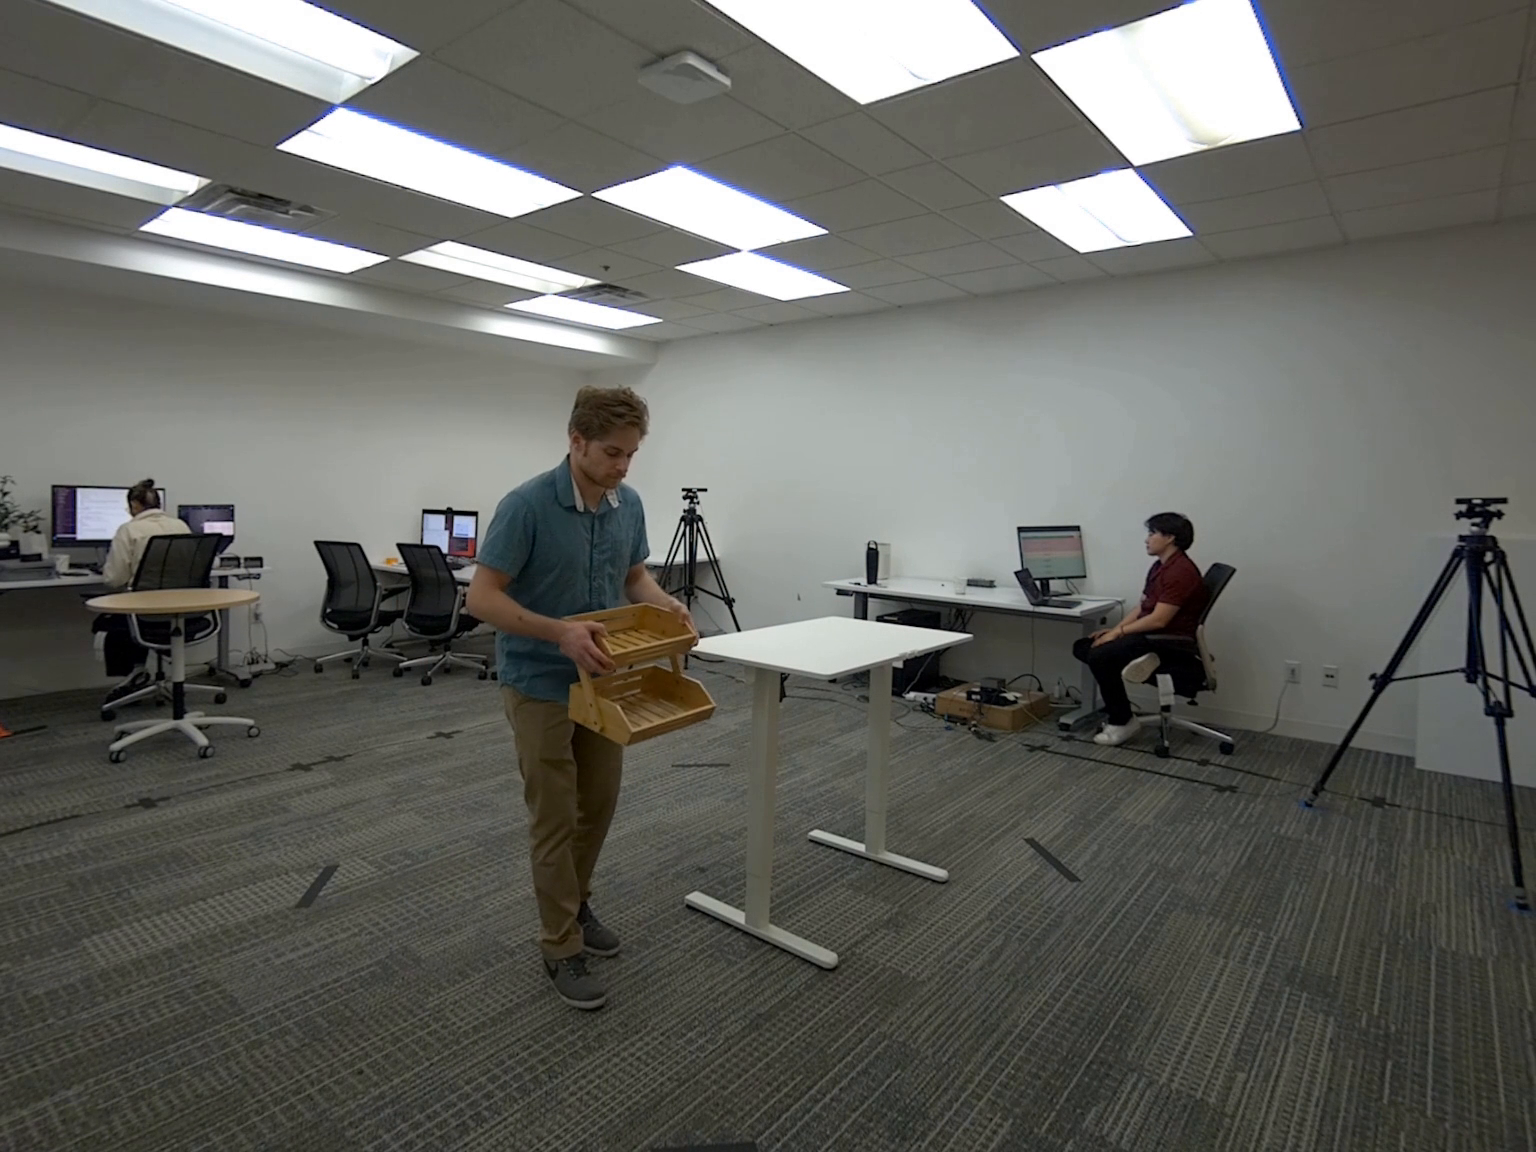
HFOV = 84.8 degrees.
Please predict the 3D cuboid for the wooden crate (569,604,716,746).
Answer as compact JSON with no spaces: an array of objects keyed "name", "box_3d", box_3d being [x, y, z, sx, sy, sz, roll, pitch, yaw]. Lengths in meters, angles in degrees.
[{"name":"wooden crate","box_3d":[-0.346,0.246,2.251,0.313,0.271,0.315,11,11,39]}]
